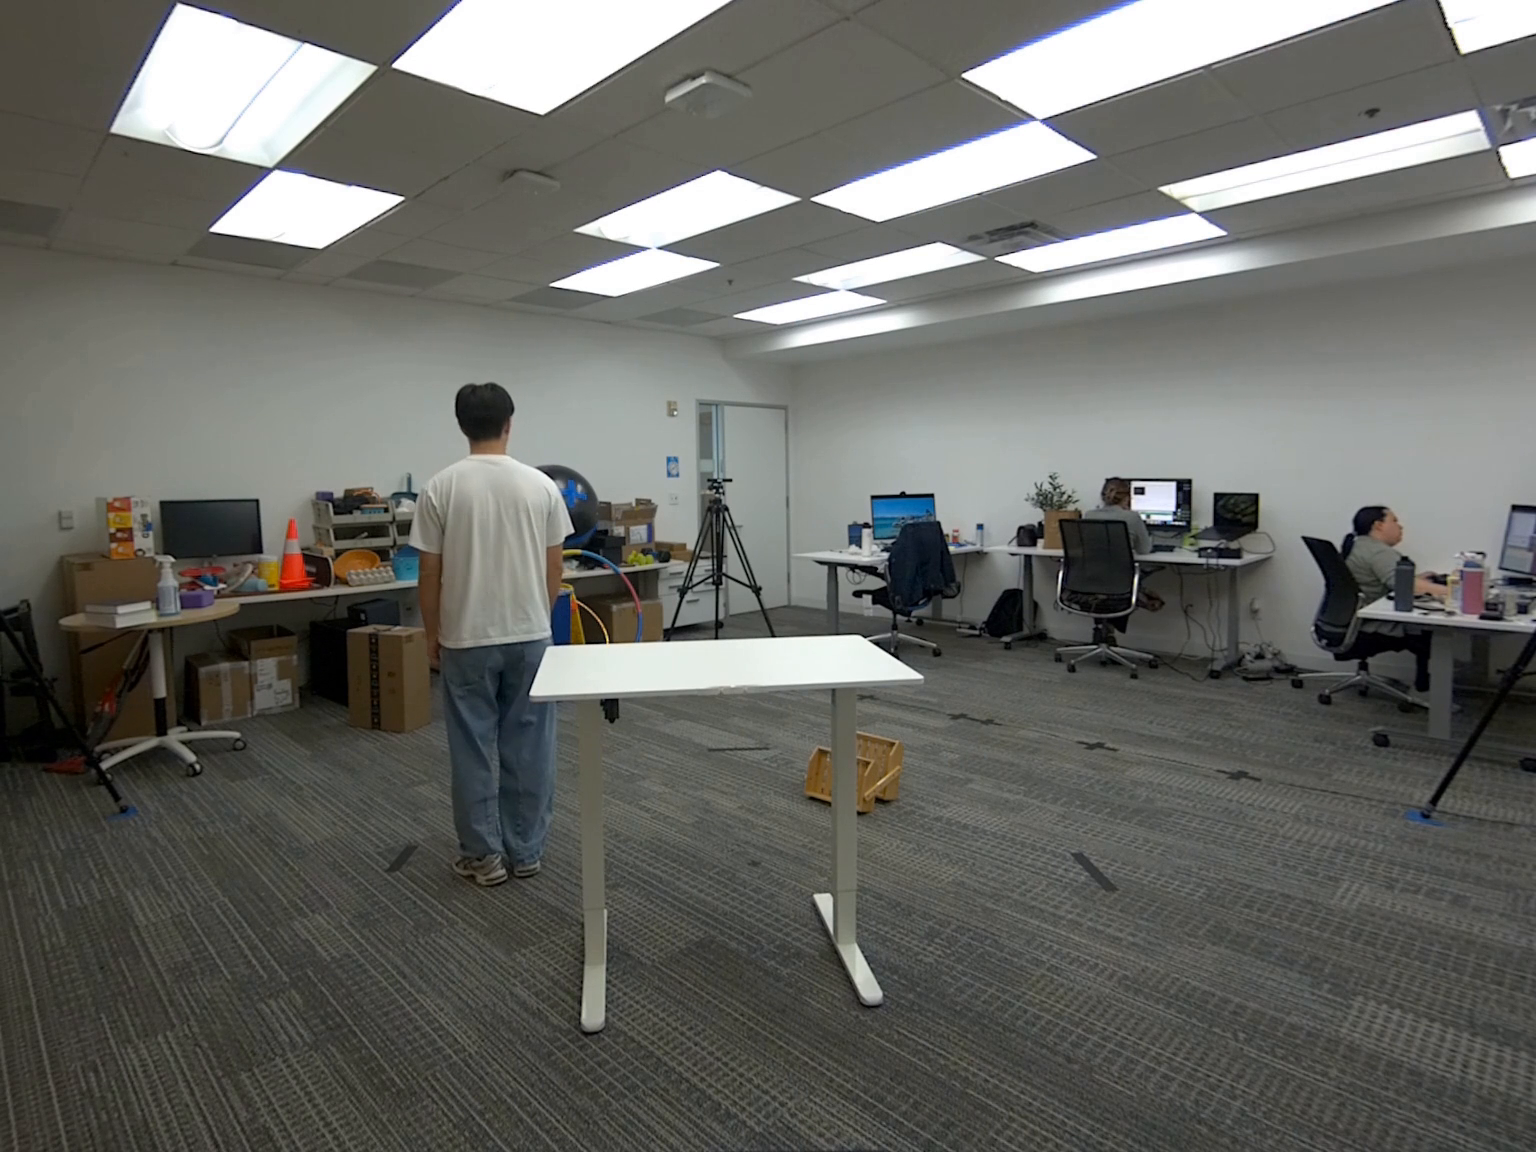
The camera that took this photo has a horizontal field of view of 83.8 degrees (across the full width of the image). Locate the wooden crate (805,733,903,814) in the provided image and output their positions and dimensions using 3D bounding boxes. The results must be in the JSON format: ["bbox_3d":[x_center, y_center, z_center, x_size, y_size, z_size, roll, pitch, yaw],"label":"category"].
[{"bbox_3d":[0.375,0.833,3.721,0.334,0.304,0.263,4,-10,43],"label":"wooden crate"}]
